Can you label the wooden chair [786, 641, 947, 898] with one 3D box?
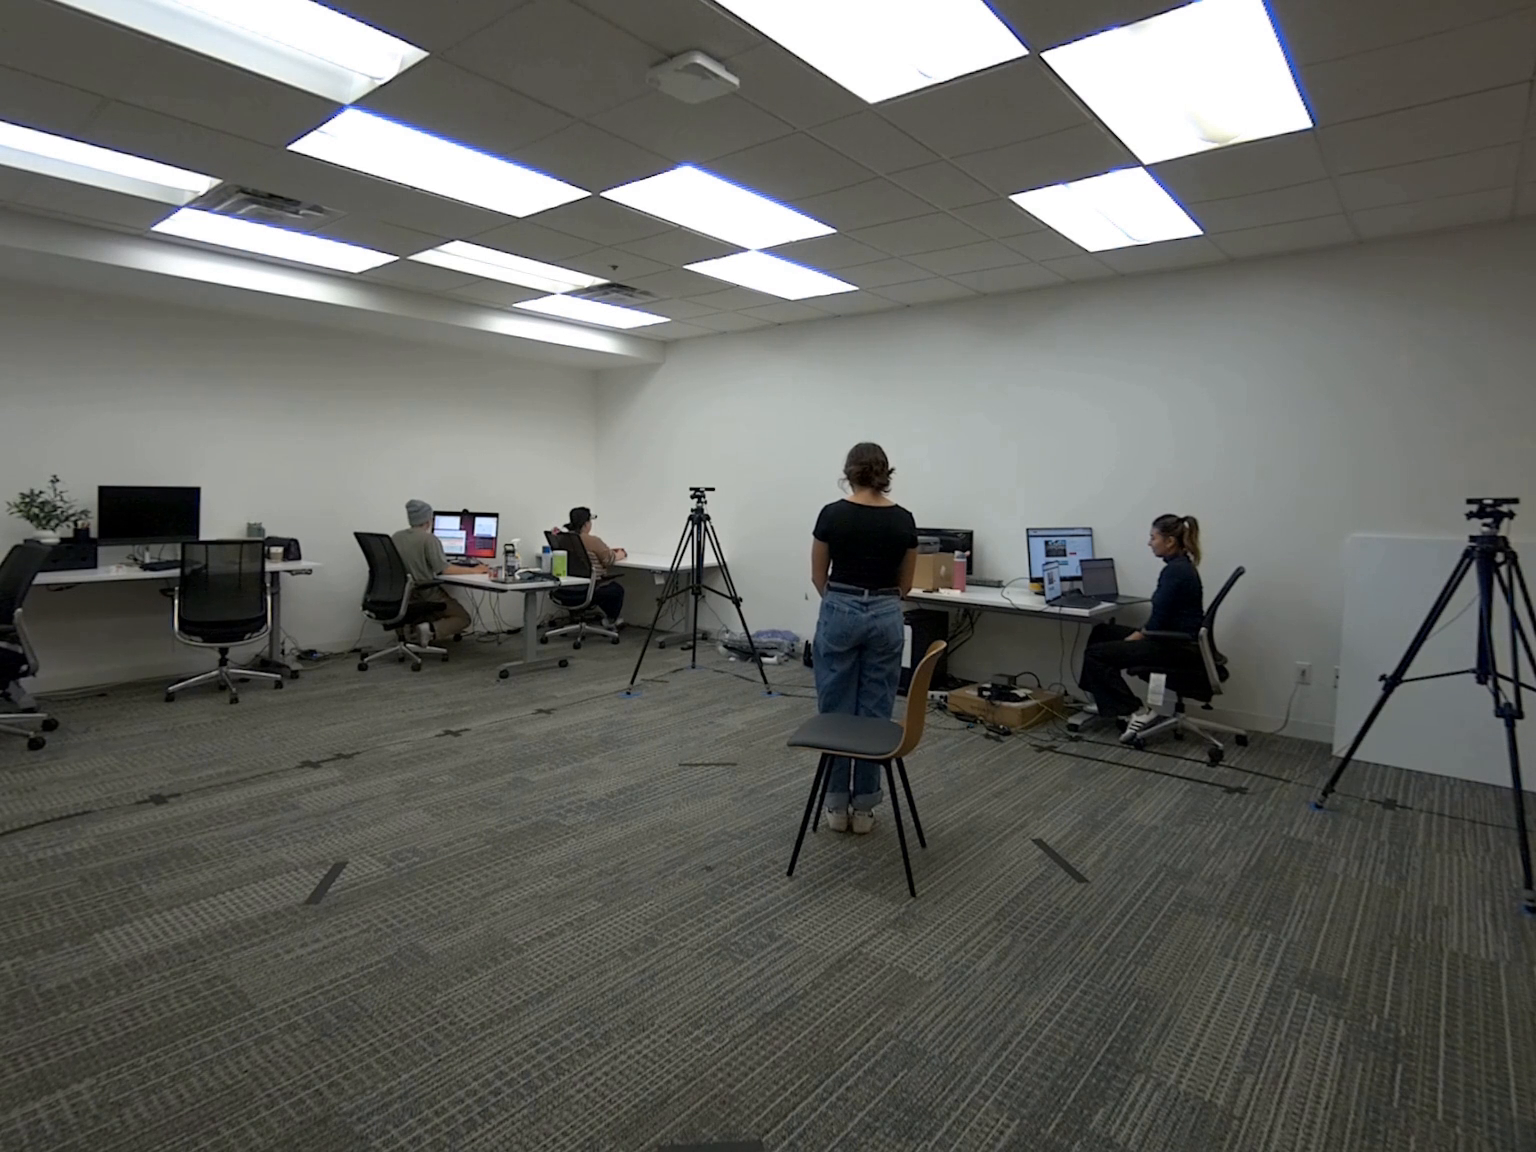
[{"bbox_3d":[0.342,0.644,3.173,0.534,0.874,0.470,7,5,17],"label":"wooden chair"}]
